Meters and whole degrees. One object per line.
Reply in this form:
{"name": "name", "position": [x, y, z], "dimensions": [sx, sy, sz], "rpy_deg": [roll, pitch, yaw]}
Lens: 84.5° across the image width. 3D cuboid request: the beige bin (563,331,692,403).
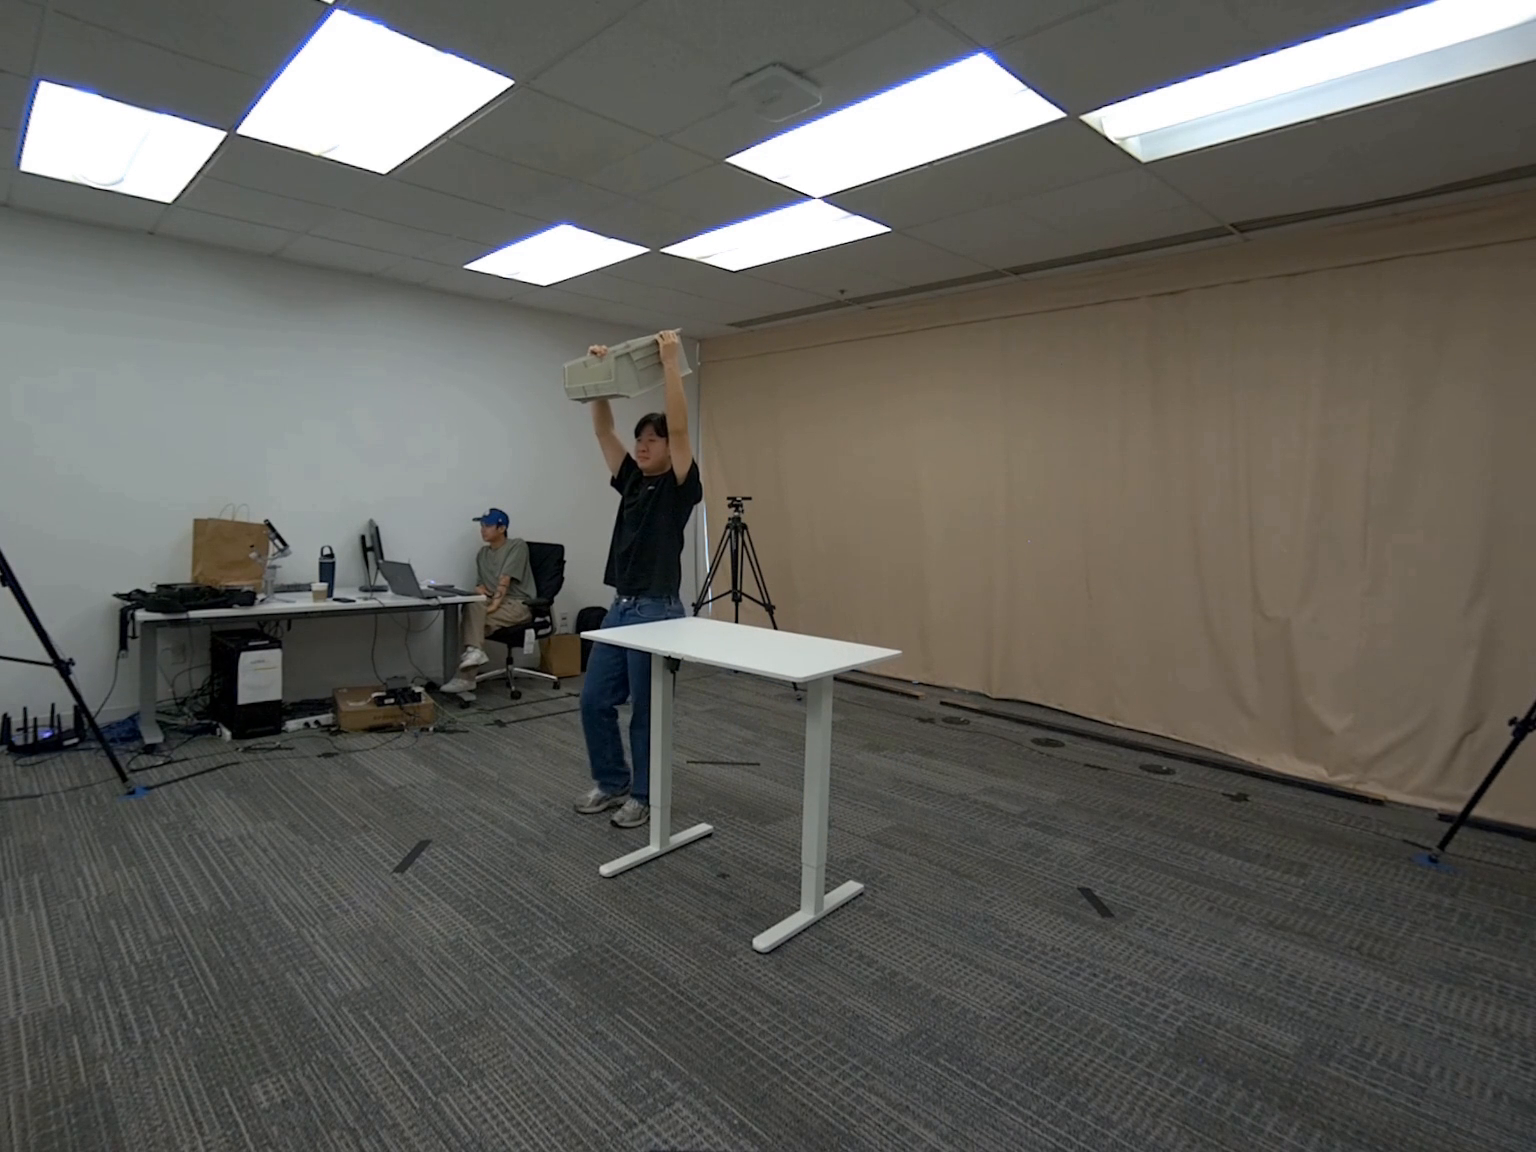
{"name": "beige bin", "position": [-0.592, -0.845, 3.456], "dimensions": [0.374, 0.186, 0.433], "rpy_deg": [-30, 23, -31]}
